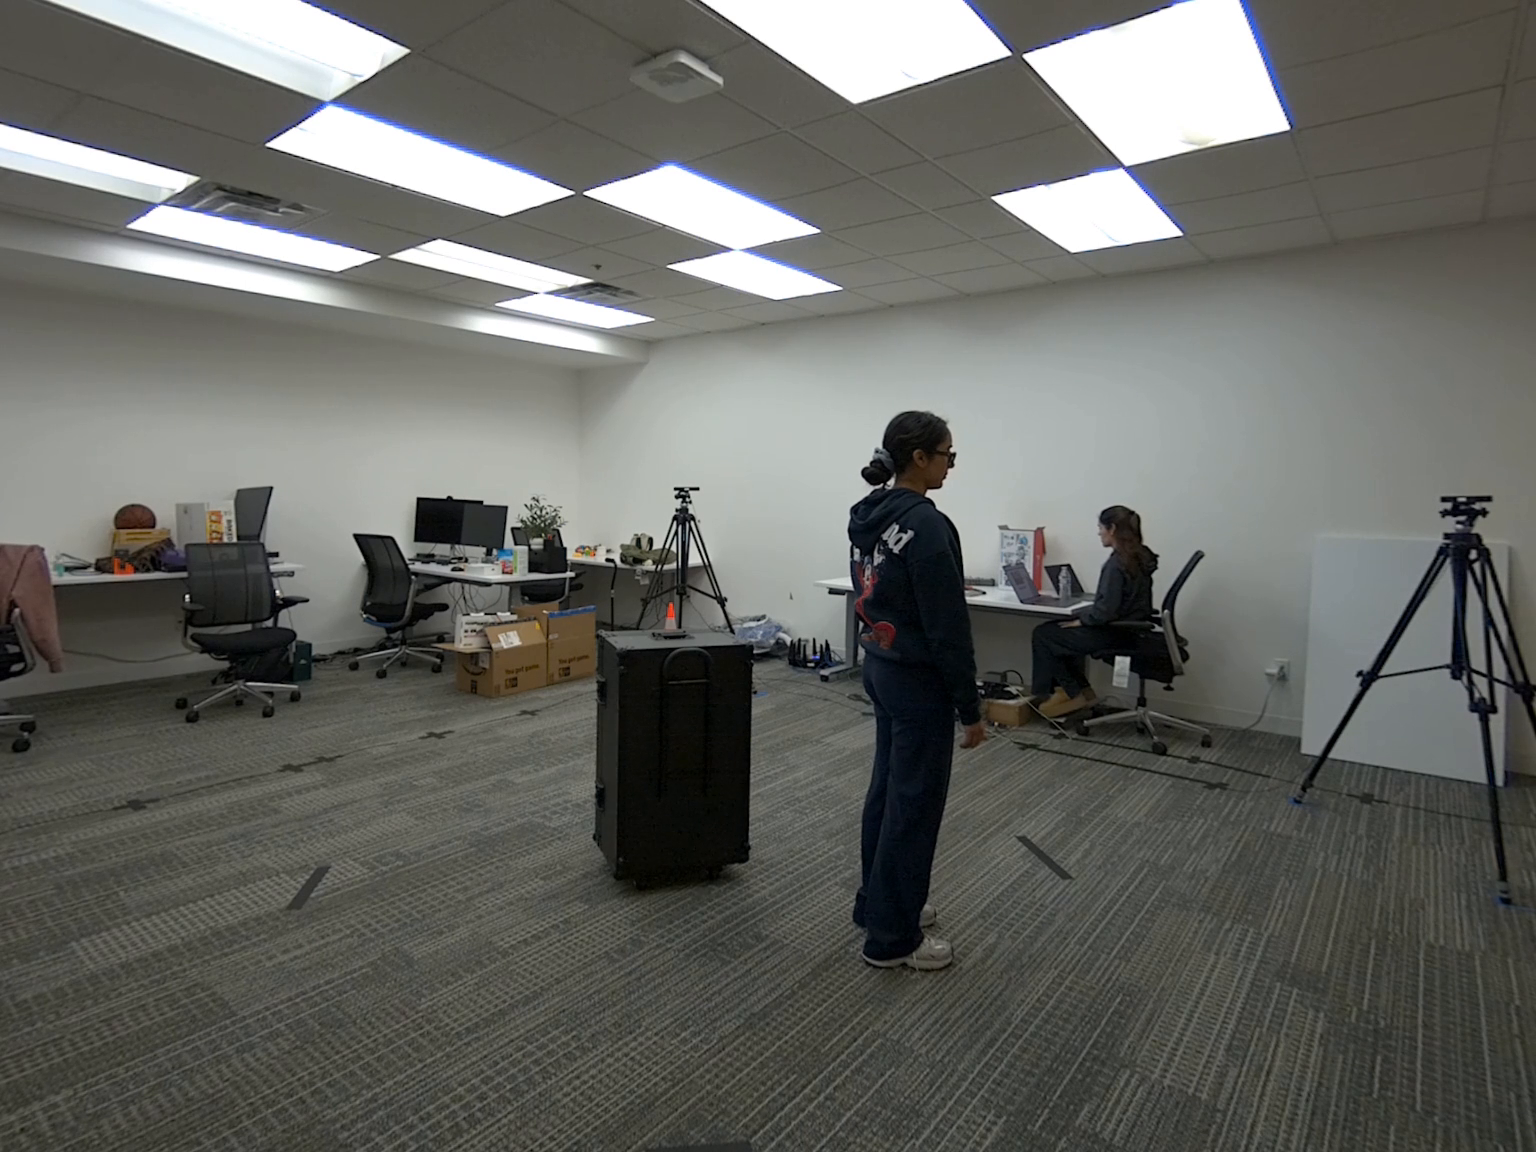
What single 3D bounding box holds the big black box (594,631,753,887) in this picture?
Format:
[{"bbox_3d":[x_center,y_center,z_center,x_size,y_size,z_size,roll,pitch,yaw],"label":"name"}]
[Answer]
[{"bbox_3d":[-0.353,0.645,3.066,0.510,0.858,0.406,0,5,-21],"label":"big black box"}]
